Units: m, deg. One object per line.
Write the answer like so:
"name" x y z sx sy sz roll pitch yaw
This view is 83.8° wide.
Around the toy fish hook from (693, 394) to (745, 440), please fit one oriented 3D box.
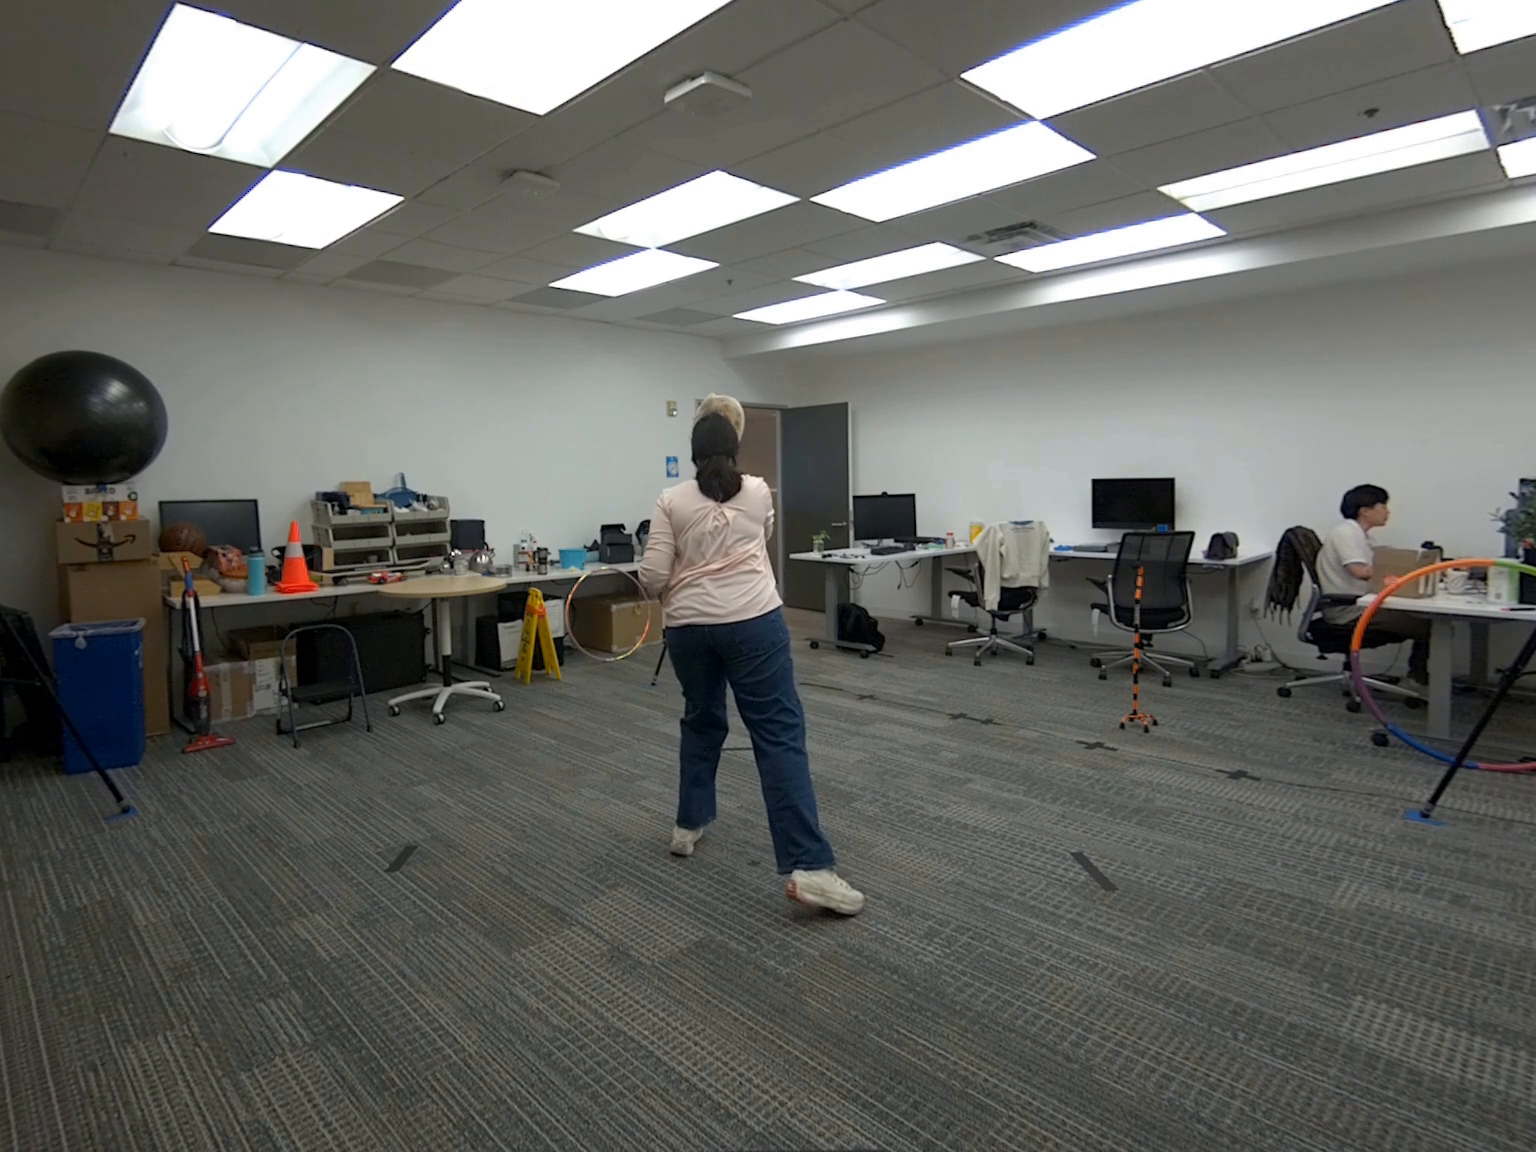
"toy fish hook" -0.230 -0.509 3.625 0.229 0.501 0.048 14 16 18
